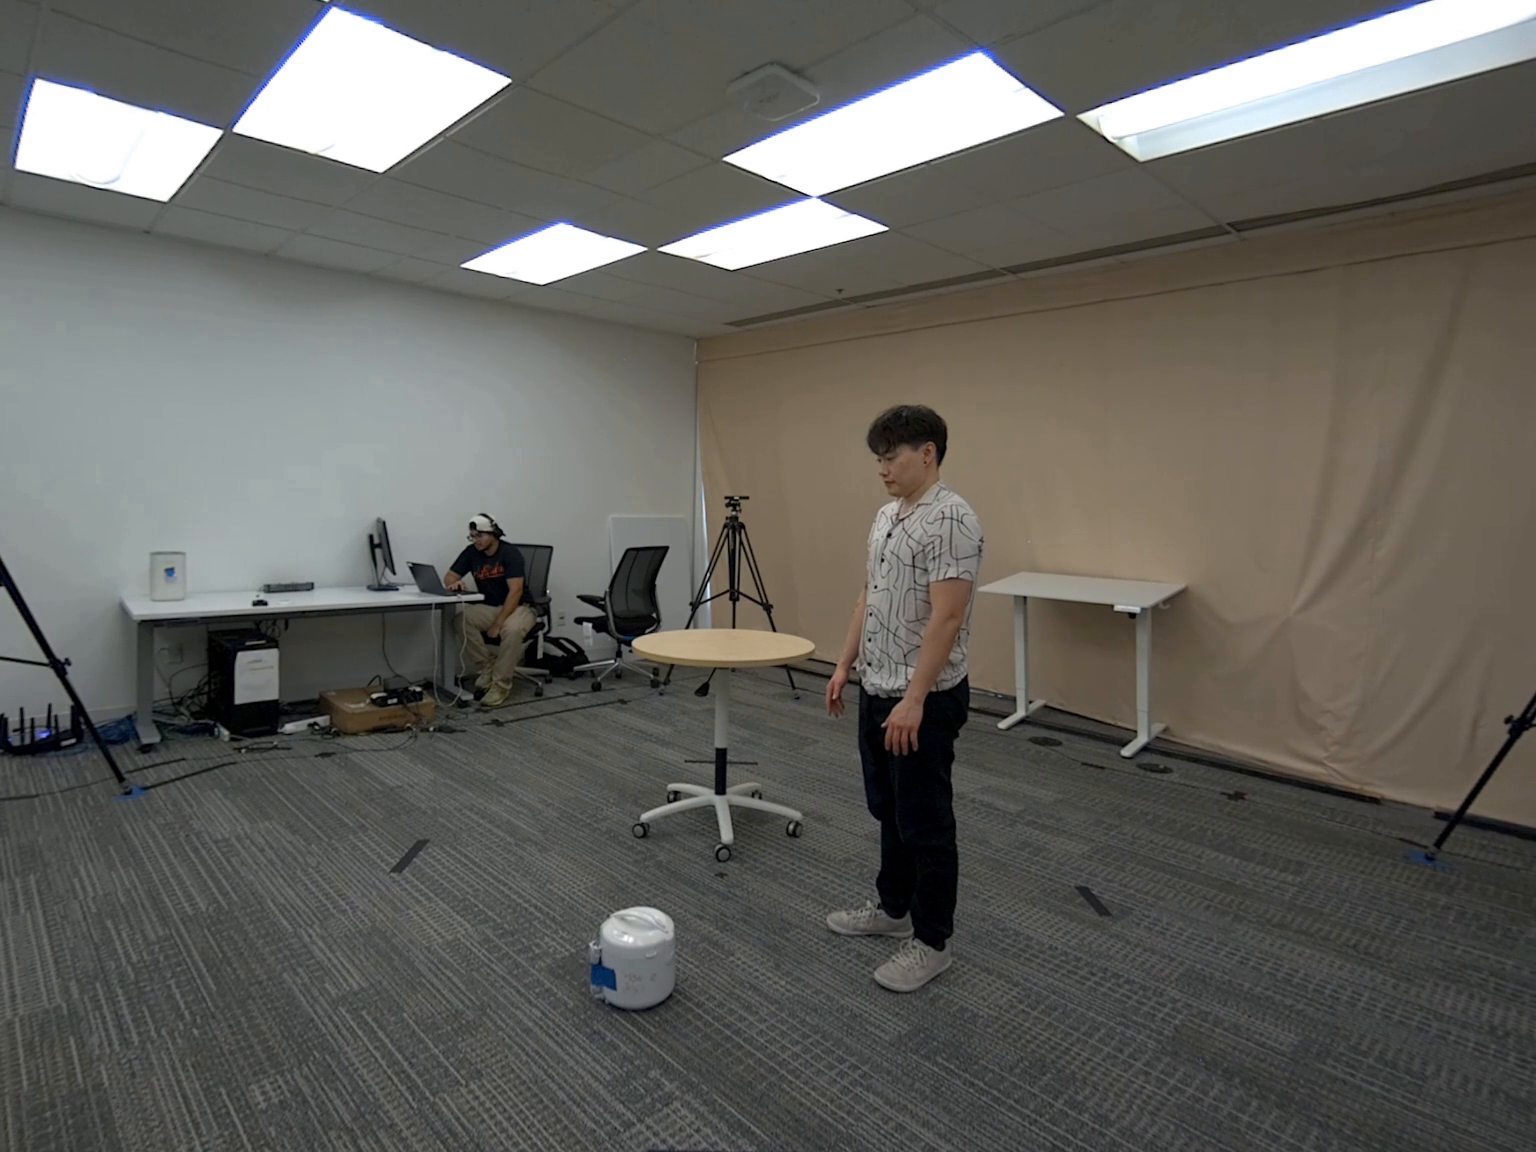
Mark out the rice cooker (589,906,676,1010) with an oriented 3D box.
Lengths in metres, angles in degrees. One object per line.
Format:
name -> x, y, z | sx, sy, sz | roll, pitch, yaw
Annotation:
rice cooker -> -0.364, 1.046, 2.354 | 0.225, 0.232, 0.214 | 3, 5, 24
